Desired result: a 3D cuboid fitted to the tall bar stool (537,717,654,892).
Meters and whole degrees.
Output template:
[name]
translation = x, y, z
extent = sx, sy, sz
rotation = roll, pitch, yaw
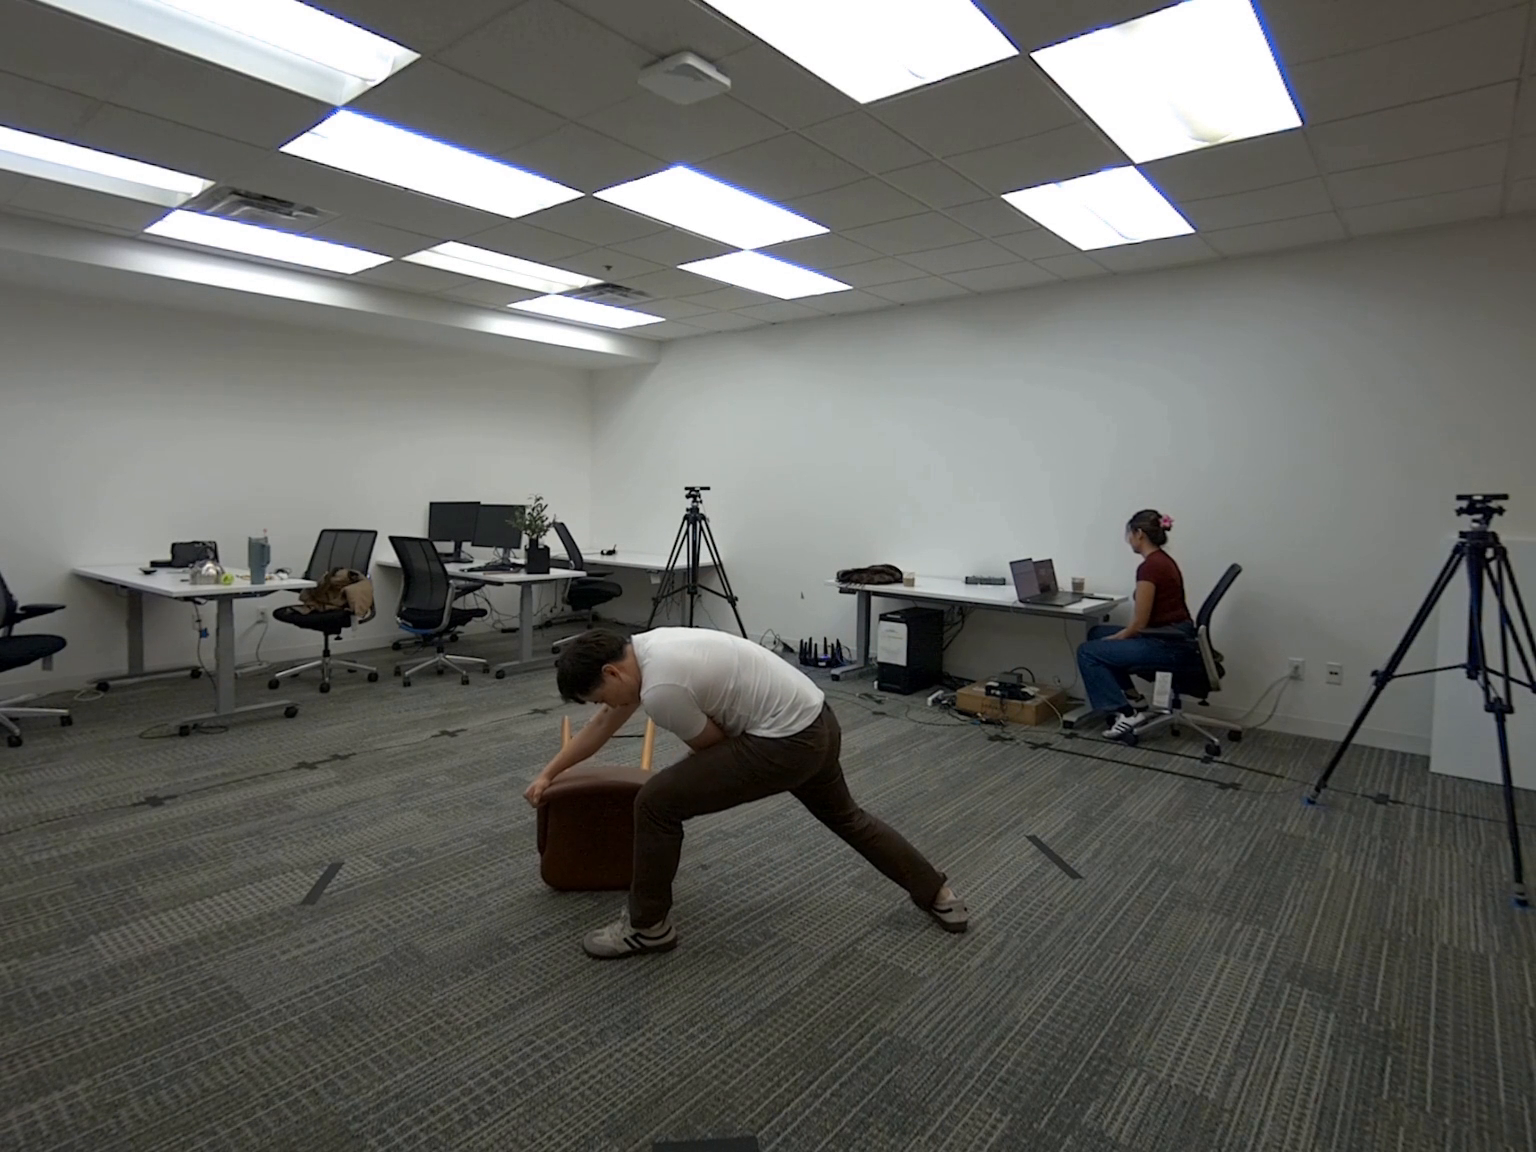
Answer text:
[tall bar stool]
translation = -0.598, 0.836, 3.068
extent = 0.453, 0.466, 0.900
rotation = 0, 4, -9
